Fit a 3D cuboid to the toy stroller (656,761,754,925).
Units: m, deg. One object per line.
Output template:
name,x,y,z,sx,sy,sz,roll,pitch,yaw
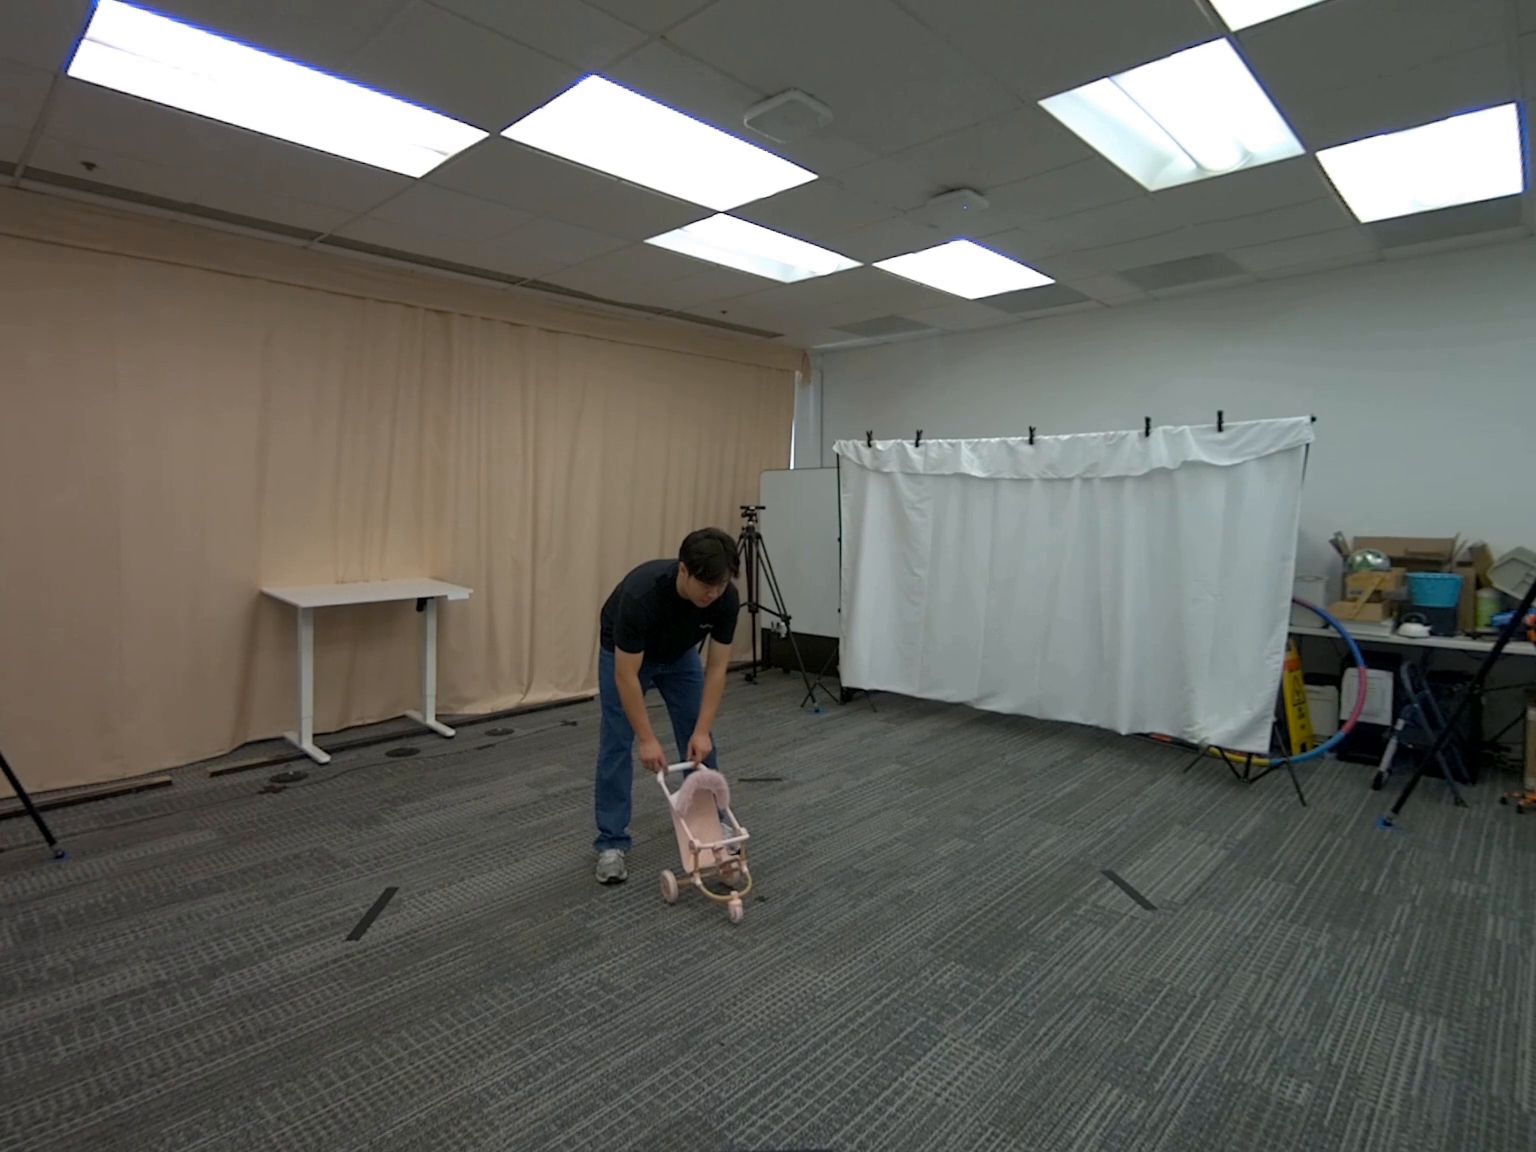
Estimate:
toy stroller,-0.209,0.924,2.962,0.274,0.540,0.347,-2,-13,-28
